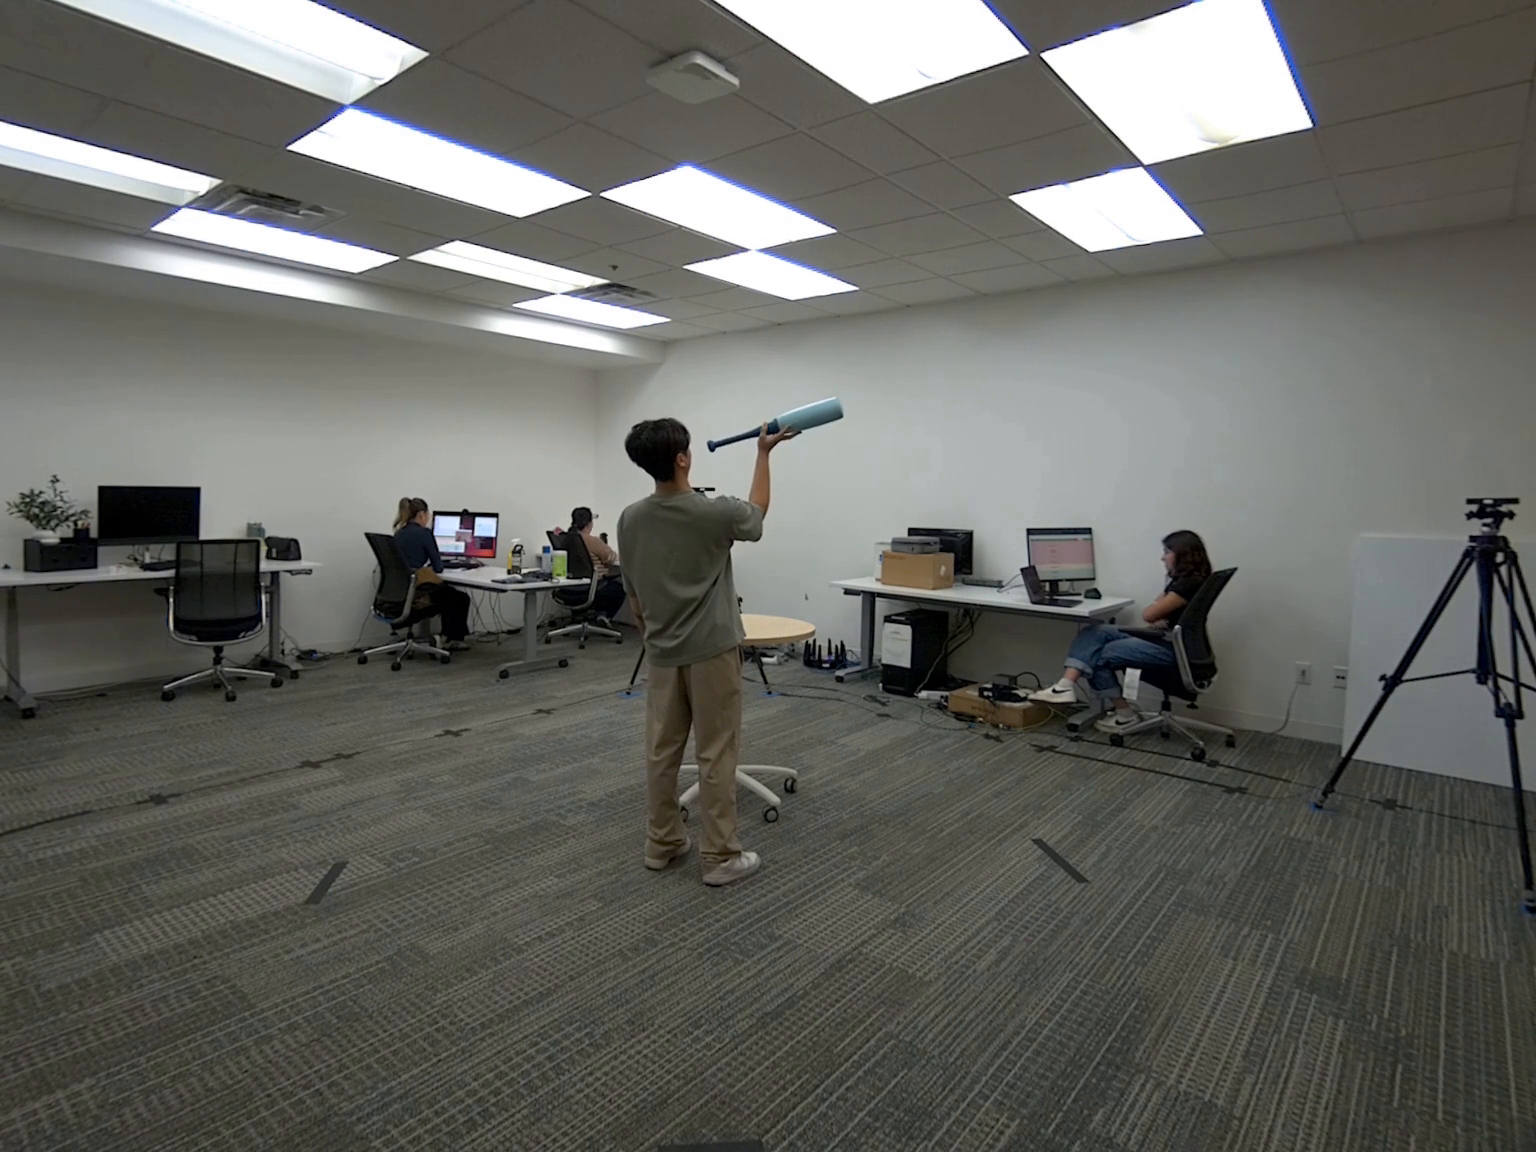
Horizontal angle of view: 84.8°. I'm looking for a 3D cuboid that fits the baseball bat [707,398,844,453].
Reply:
[{"bbox_3d":[0.015,-0.581,3.294,0.548,0.089,0.088,-15,1,12],"label":"baseball bat"}]
